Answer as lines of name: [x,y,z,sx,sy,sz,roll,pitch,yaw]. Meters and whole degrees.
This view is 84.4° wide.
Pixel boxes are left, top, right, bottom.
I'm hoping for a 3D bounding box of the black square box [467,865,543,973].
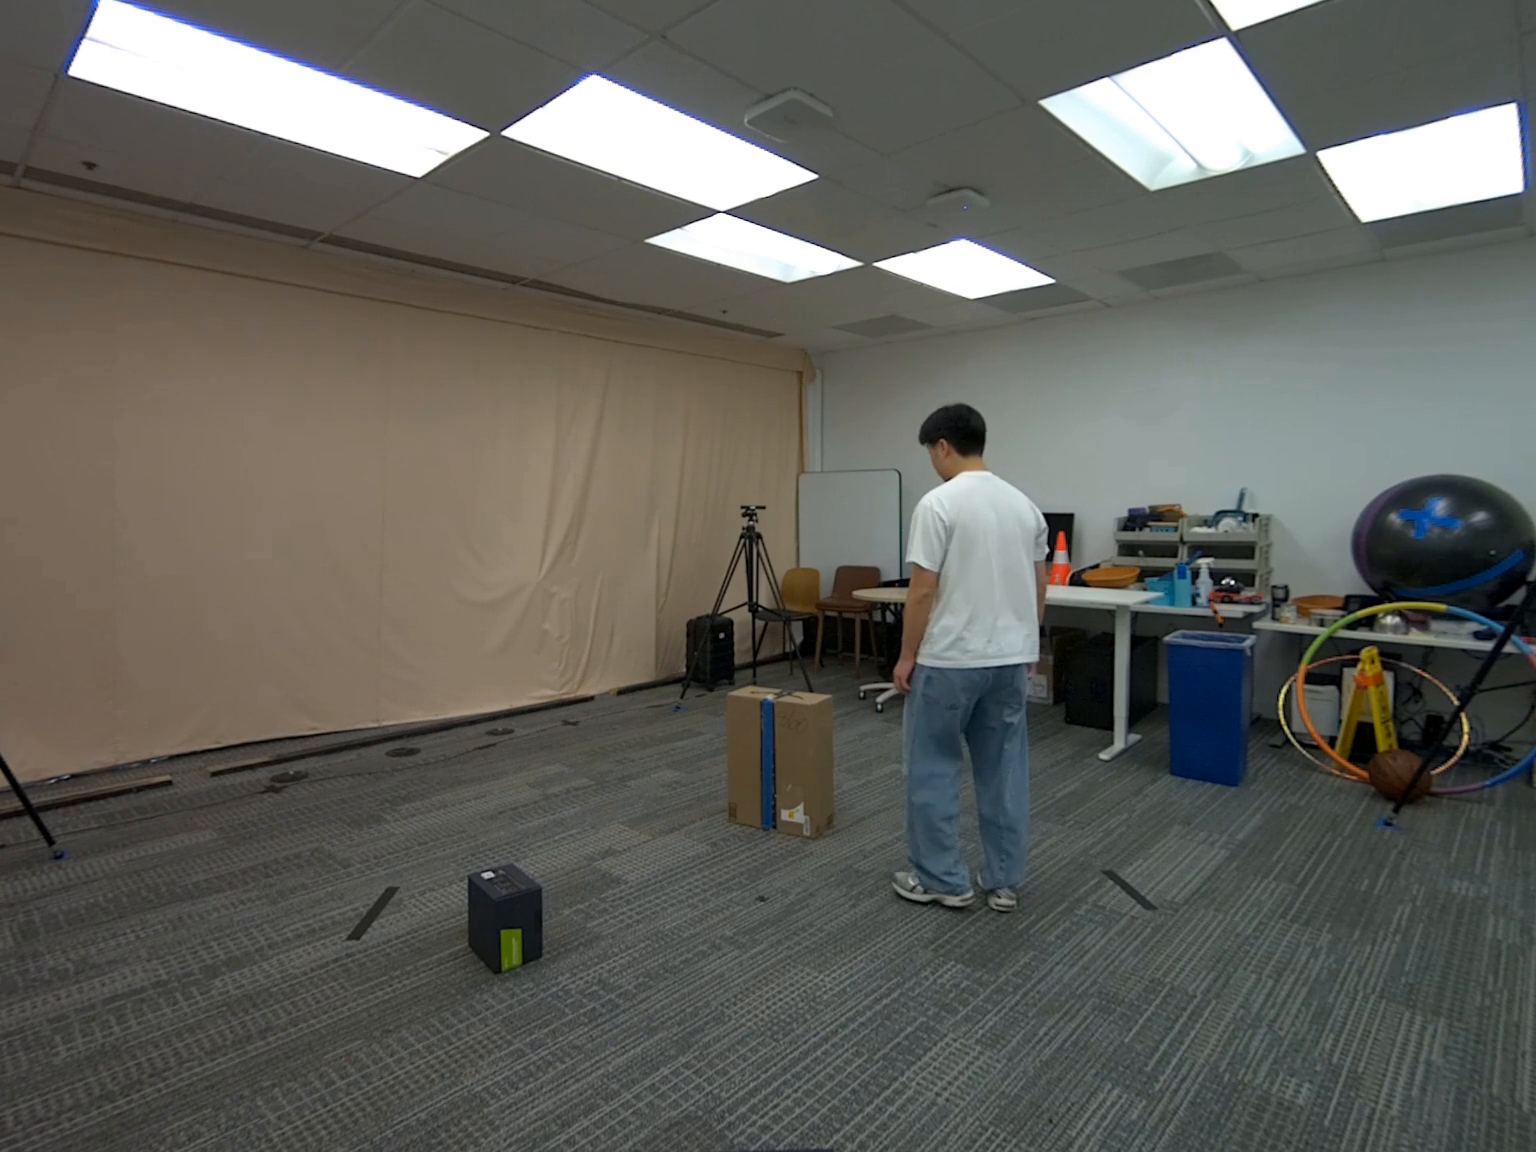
black square box: [-0.823,1.062,2.625,0.151,0.227,0.224,-2,4,-41]
